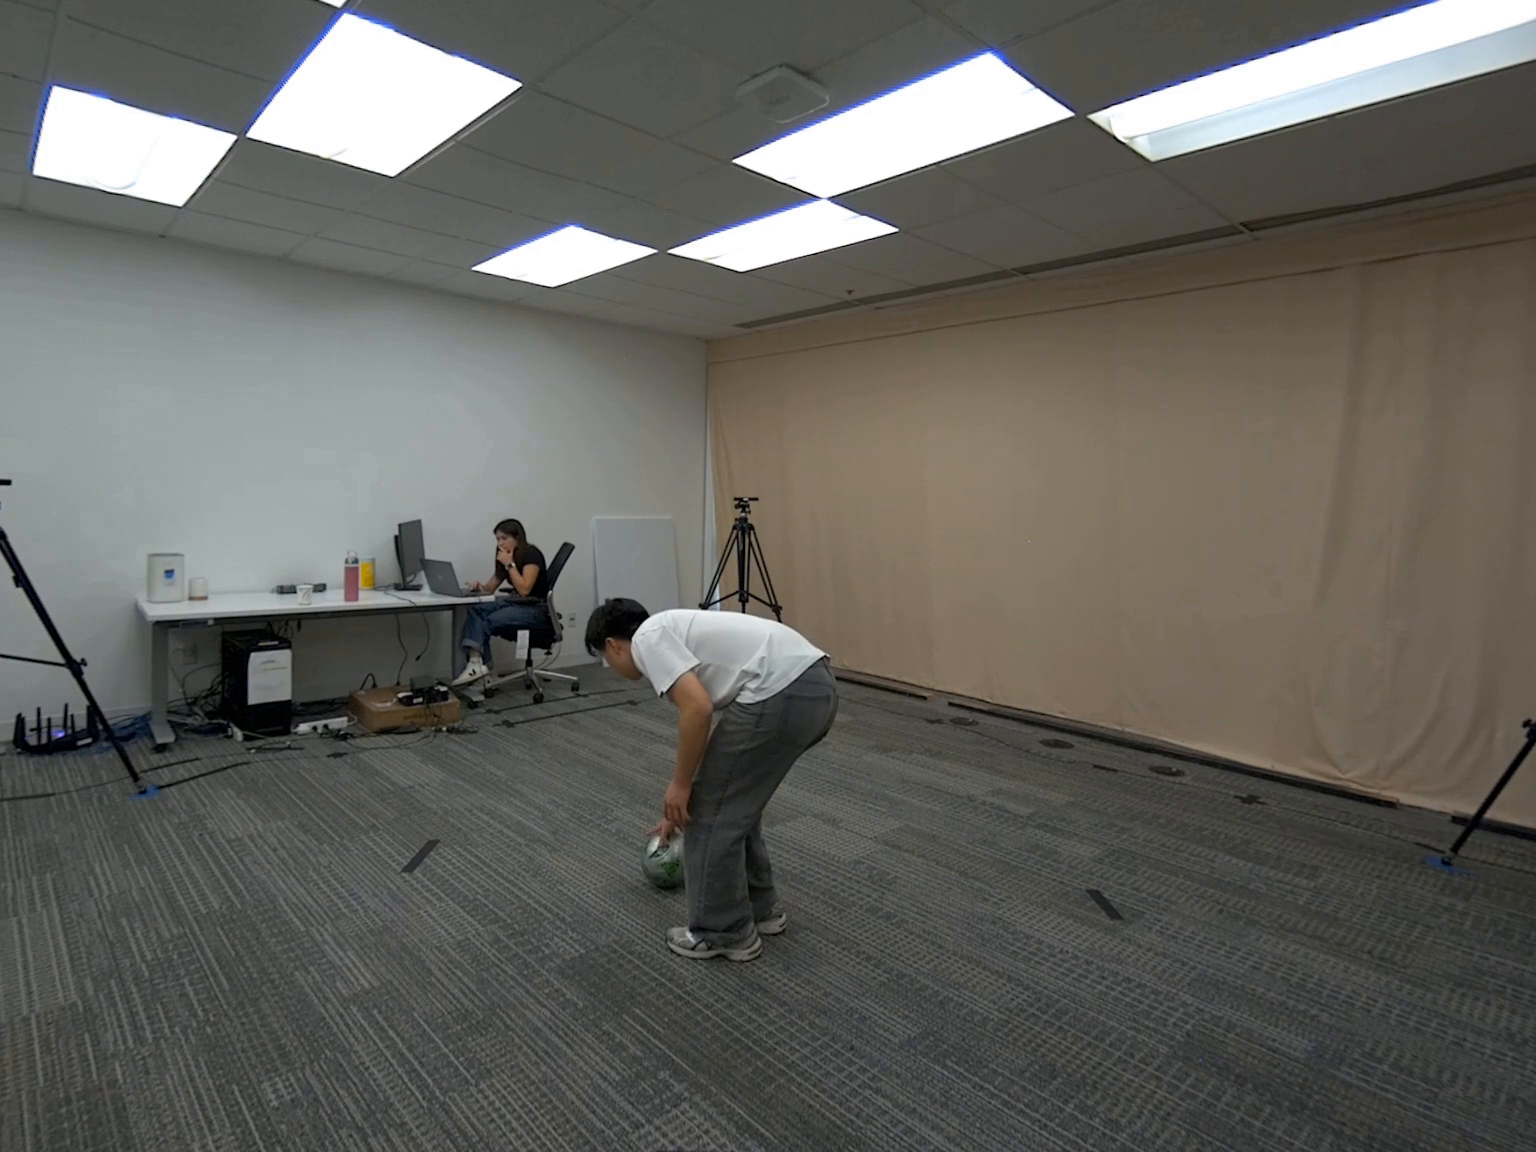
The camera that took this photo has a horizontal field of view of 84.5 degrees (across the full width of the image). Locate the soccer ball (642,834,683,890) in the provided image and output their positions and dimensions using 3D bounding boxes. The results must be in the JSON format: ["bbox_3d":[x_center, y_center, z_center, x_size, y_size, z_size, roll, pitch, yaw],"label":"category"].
[{"bbox_3d":[-0.370,1.019,3.021,0.187,0.187,0.188,1,4,-1],"label":"soccer ball"}]
